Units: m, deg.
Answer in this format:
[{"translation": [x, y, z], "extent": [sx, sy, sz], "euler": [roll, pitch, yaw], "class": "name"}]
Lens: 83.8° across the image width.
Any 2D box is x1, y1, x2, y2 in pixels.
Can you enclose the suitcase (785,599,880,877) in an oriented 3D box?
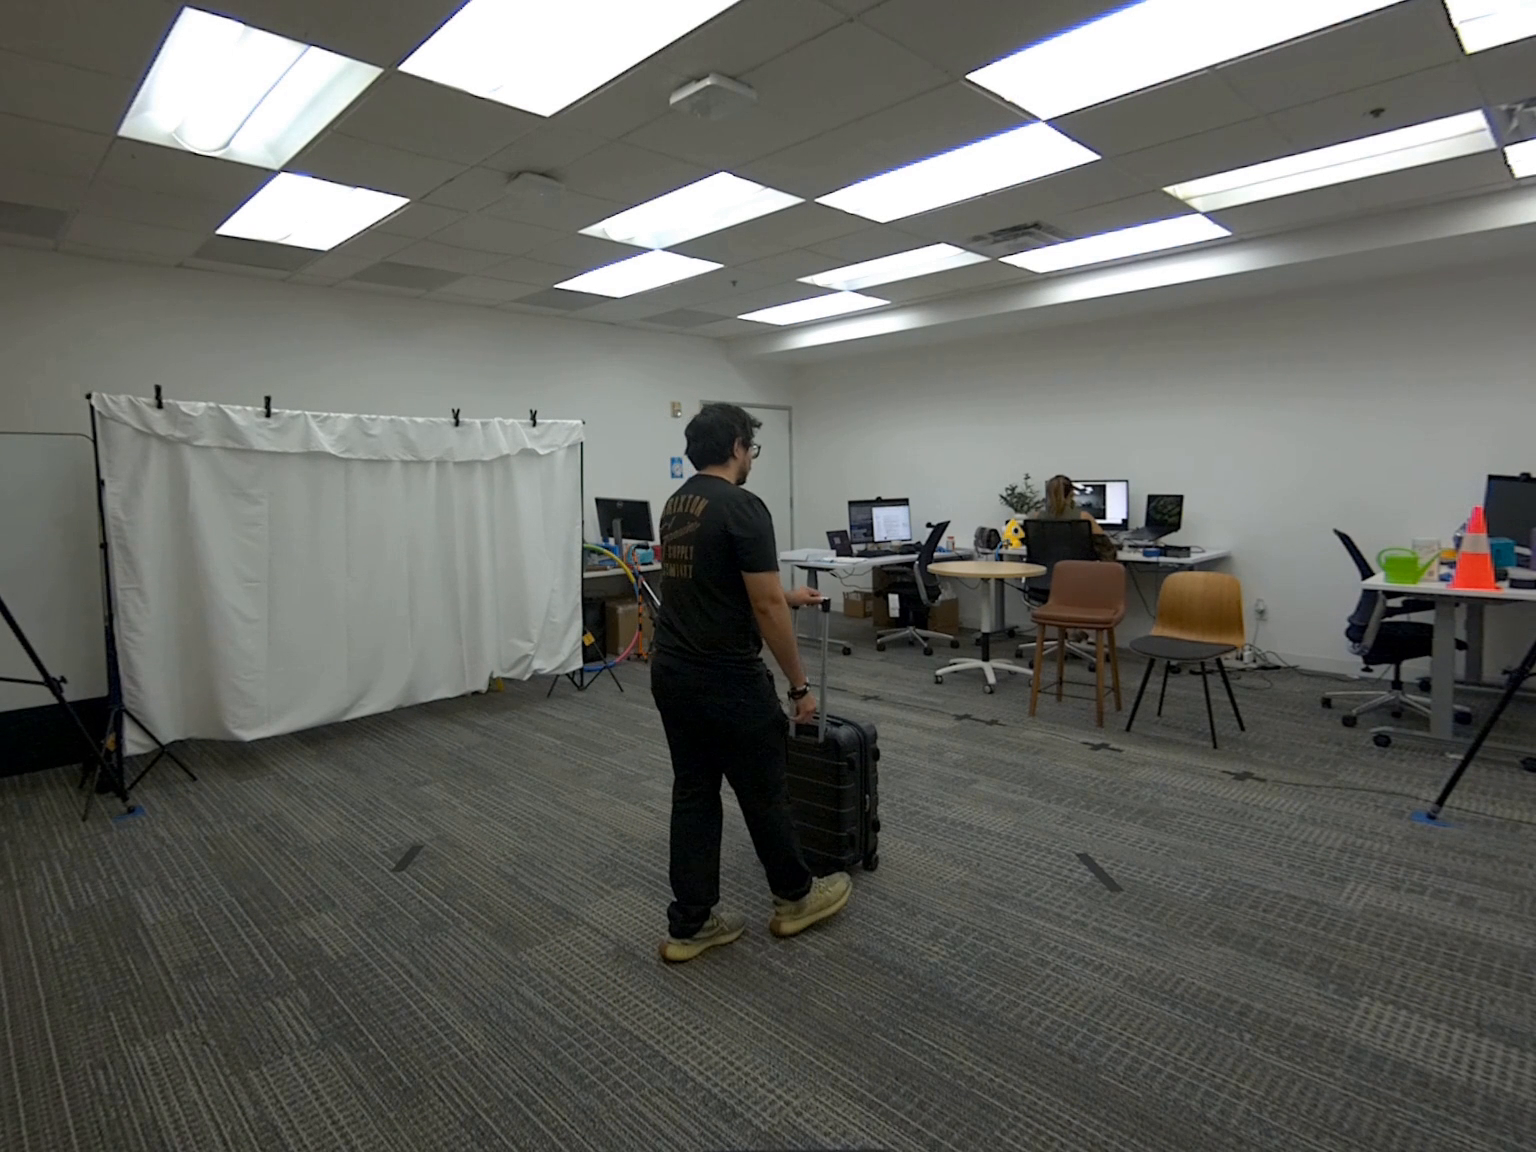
[{"translation": [0.210, 0.569, 3.084], "extent": [0.395, 0.979, 0.249], "euler": [1, 0, 39], "class": "suitcase"}]
